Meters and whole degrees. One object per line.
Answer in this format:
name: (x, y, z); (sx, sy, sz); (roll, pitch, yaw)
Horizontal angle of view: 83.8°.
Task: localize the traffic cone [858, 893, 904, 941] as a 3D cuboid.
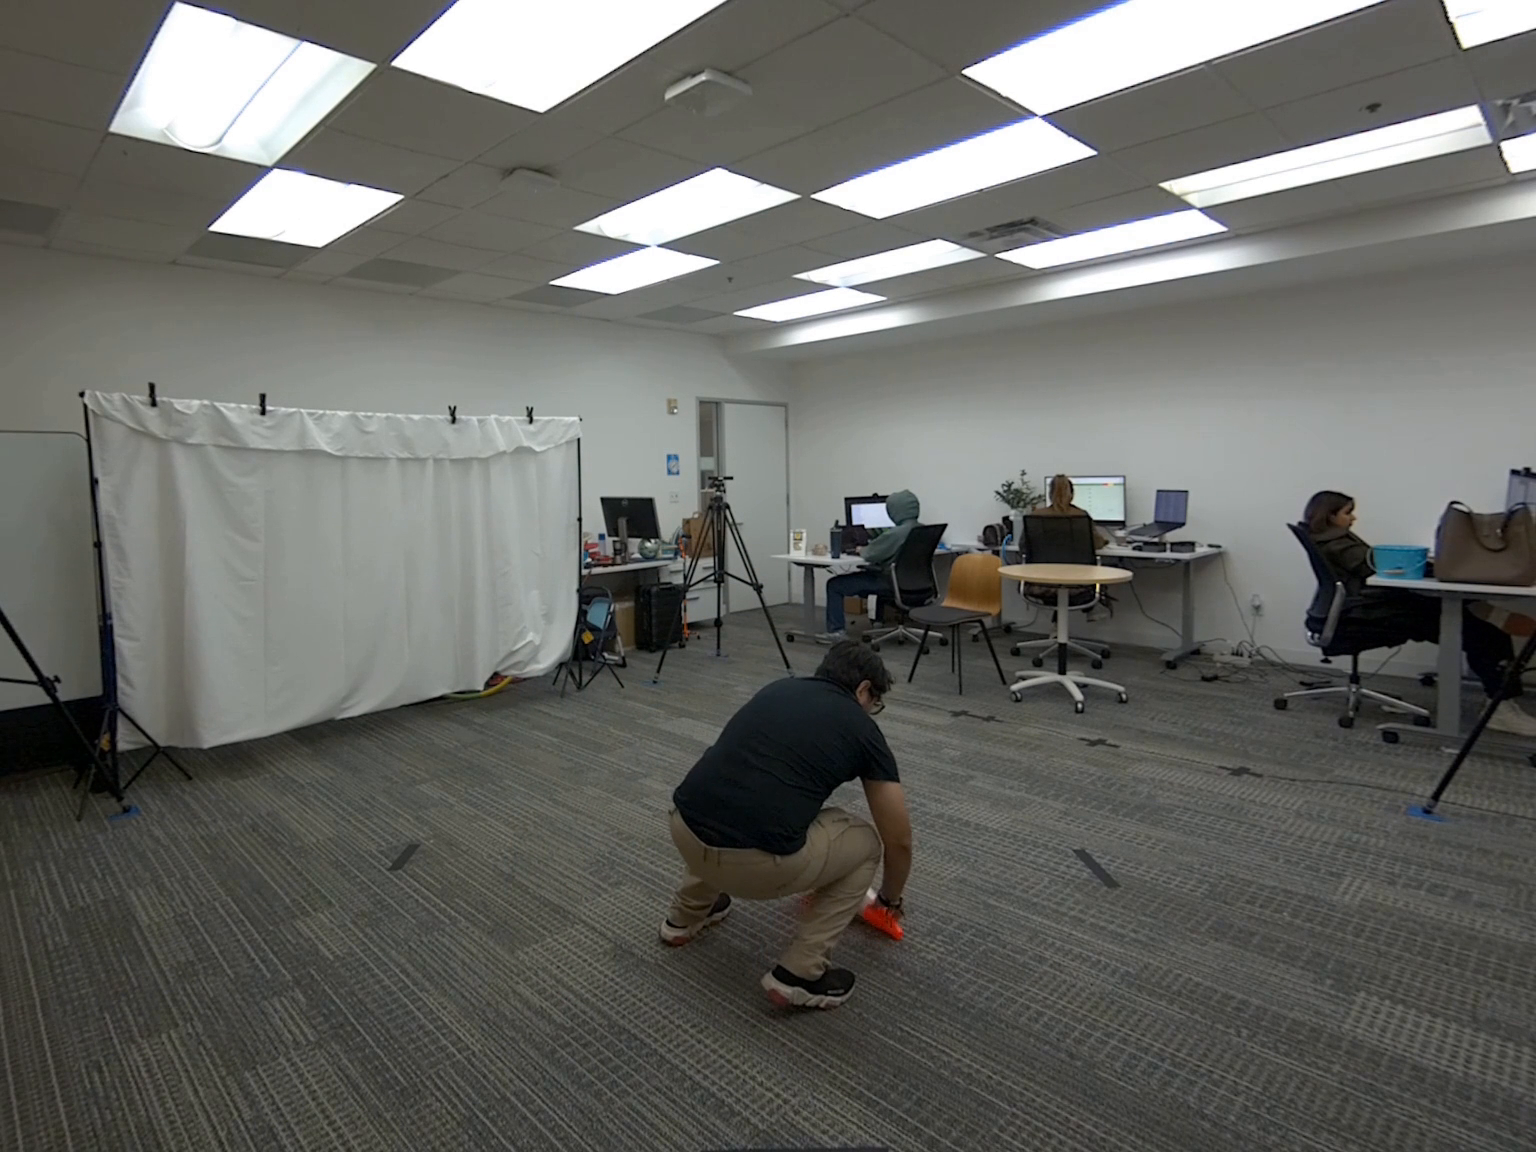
traffic cone: (0.298, 1.014, 2.707); (0.198, 0.203, 0.398); (17, 8, -42)
